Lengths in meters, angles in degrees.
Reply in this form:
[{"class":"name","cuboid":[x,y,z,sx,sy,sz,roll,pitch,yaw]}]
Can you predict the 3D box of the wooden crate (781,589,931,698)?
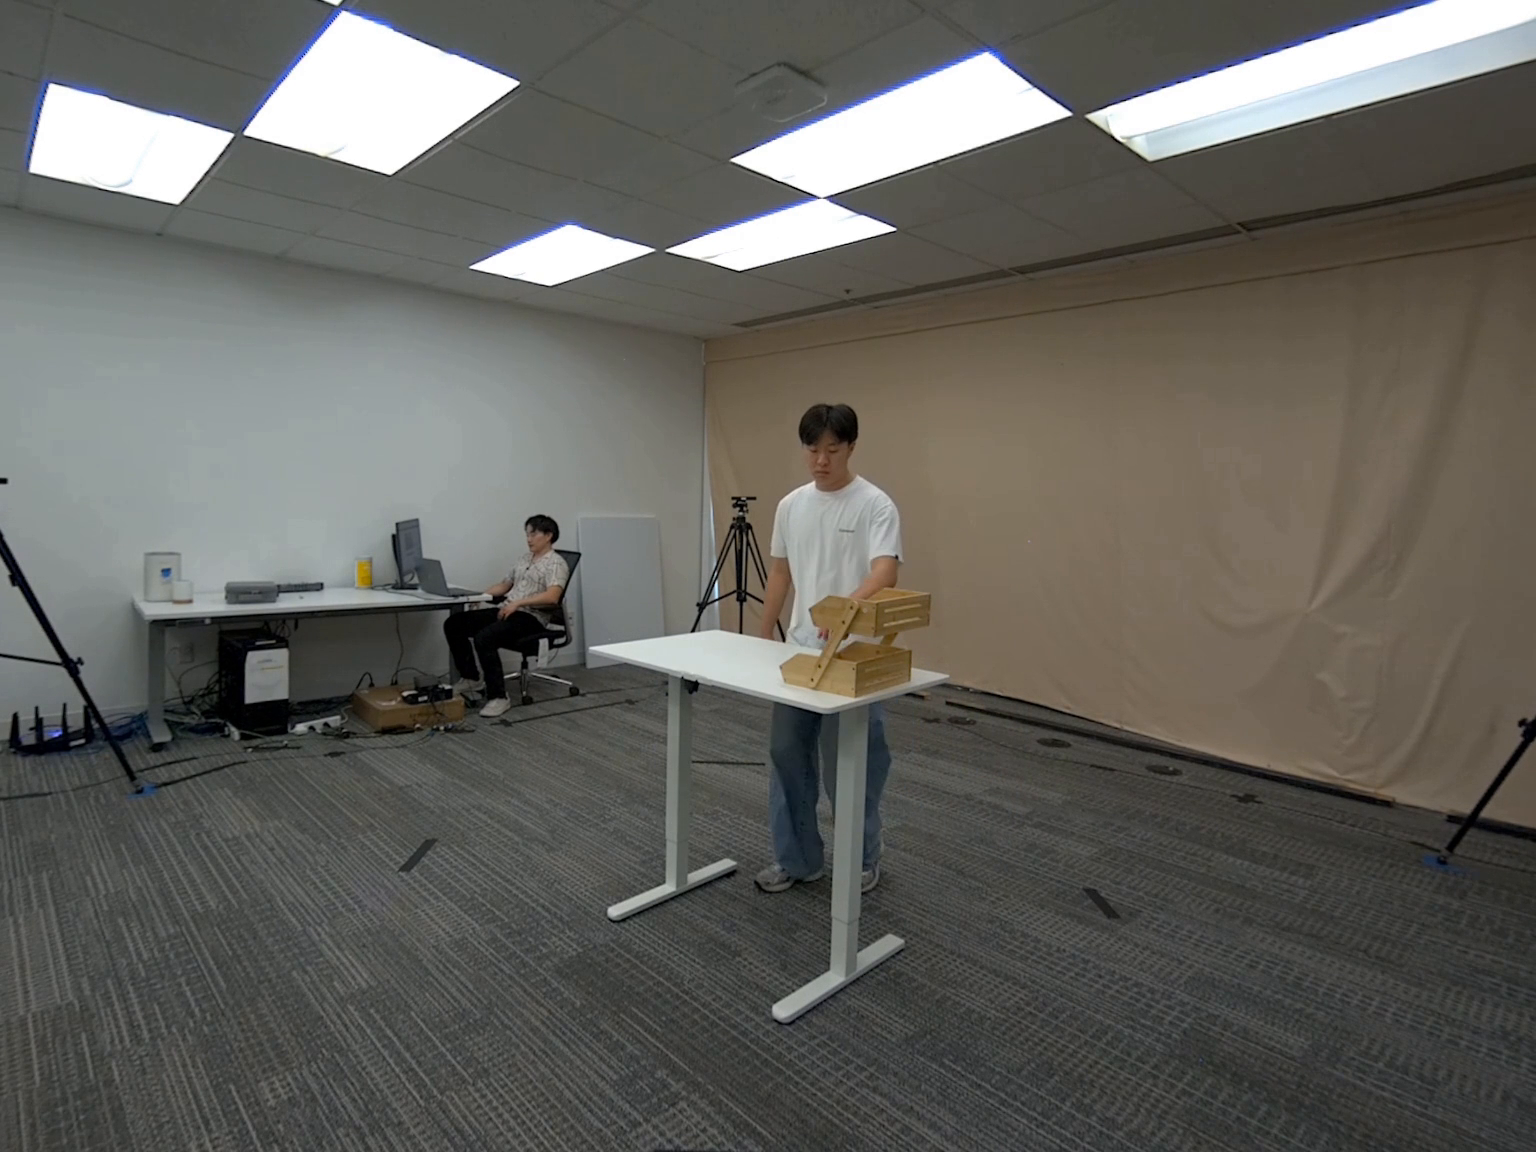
[{"class":"wooden crate","cuboid":[0.237,0.172,2.366,0.310,0.272,0.317,6,6,38]}]
